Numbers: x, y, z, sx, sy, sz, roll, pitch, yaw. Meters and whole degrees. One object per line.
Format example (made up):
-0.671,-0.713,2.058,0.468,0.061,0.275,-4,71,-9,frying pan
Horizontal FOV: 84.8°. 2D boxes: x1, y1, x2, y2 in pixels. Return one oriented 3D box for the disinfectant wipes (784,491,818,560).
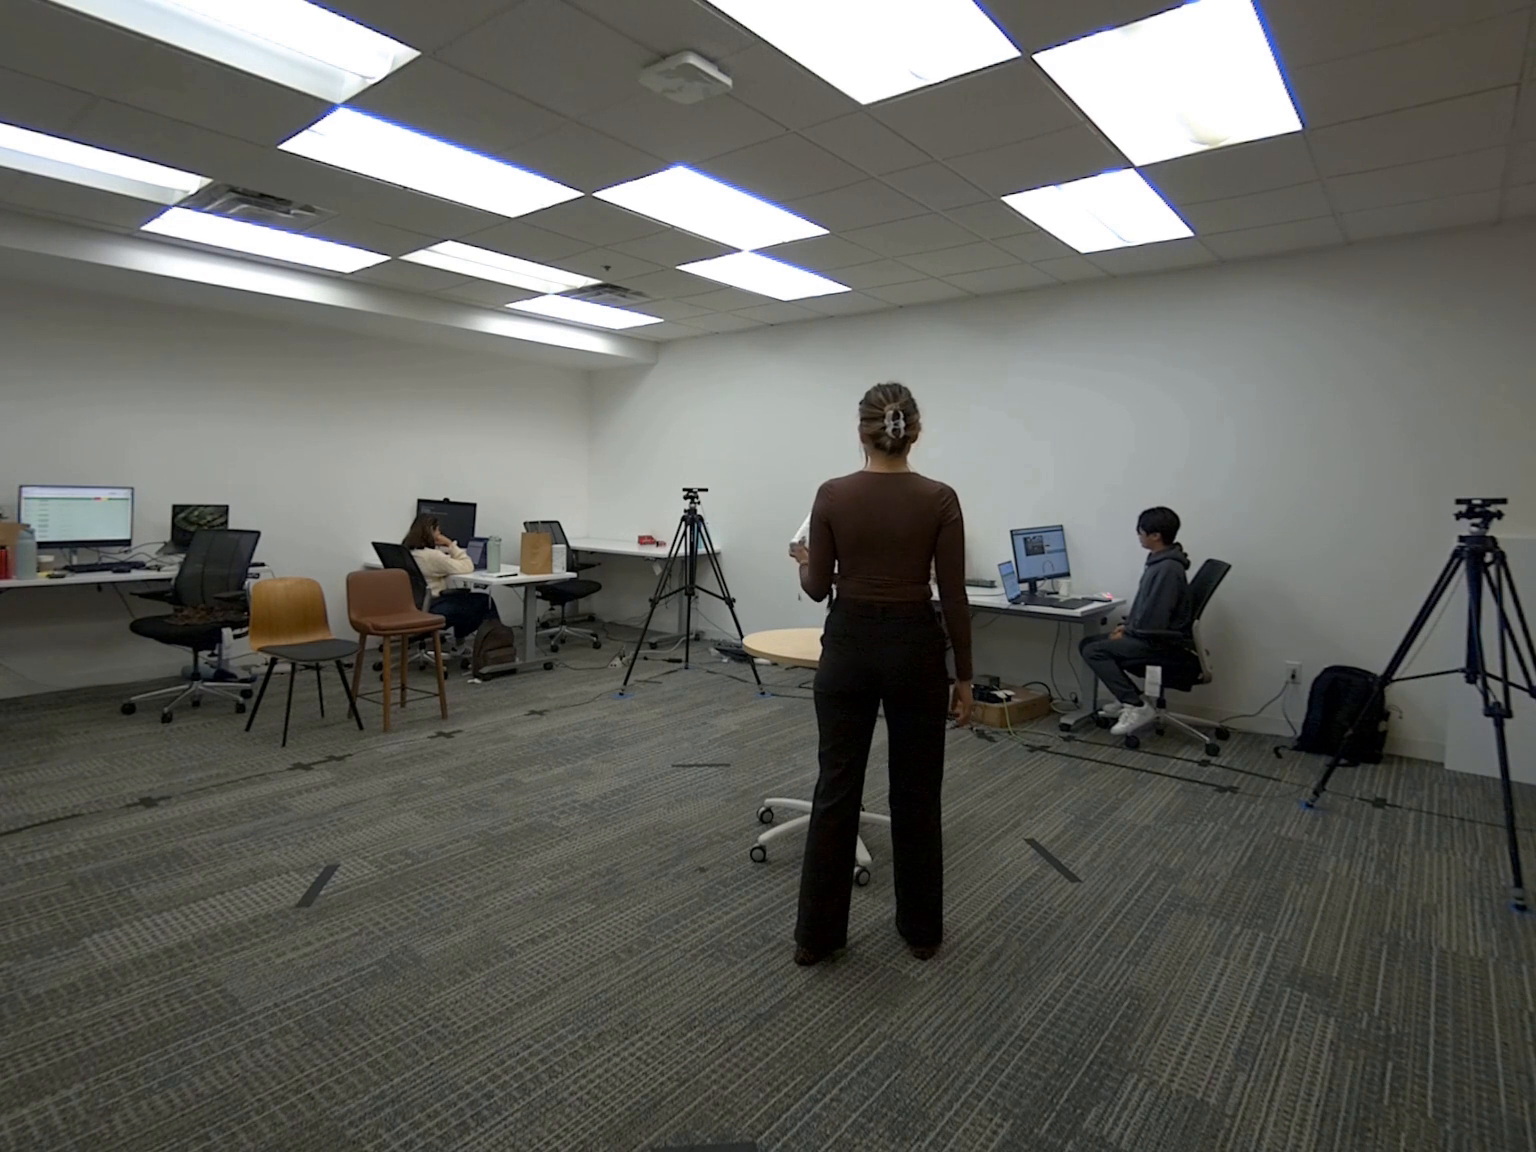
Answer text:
0.166,-0.163,2.941,0.119,0.218,0.115,29,-20,9,disinfectant wipes
